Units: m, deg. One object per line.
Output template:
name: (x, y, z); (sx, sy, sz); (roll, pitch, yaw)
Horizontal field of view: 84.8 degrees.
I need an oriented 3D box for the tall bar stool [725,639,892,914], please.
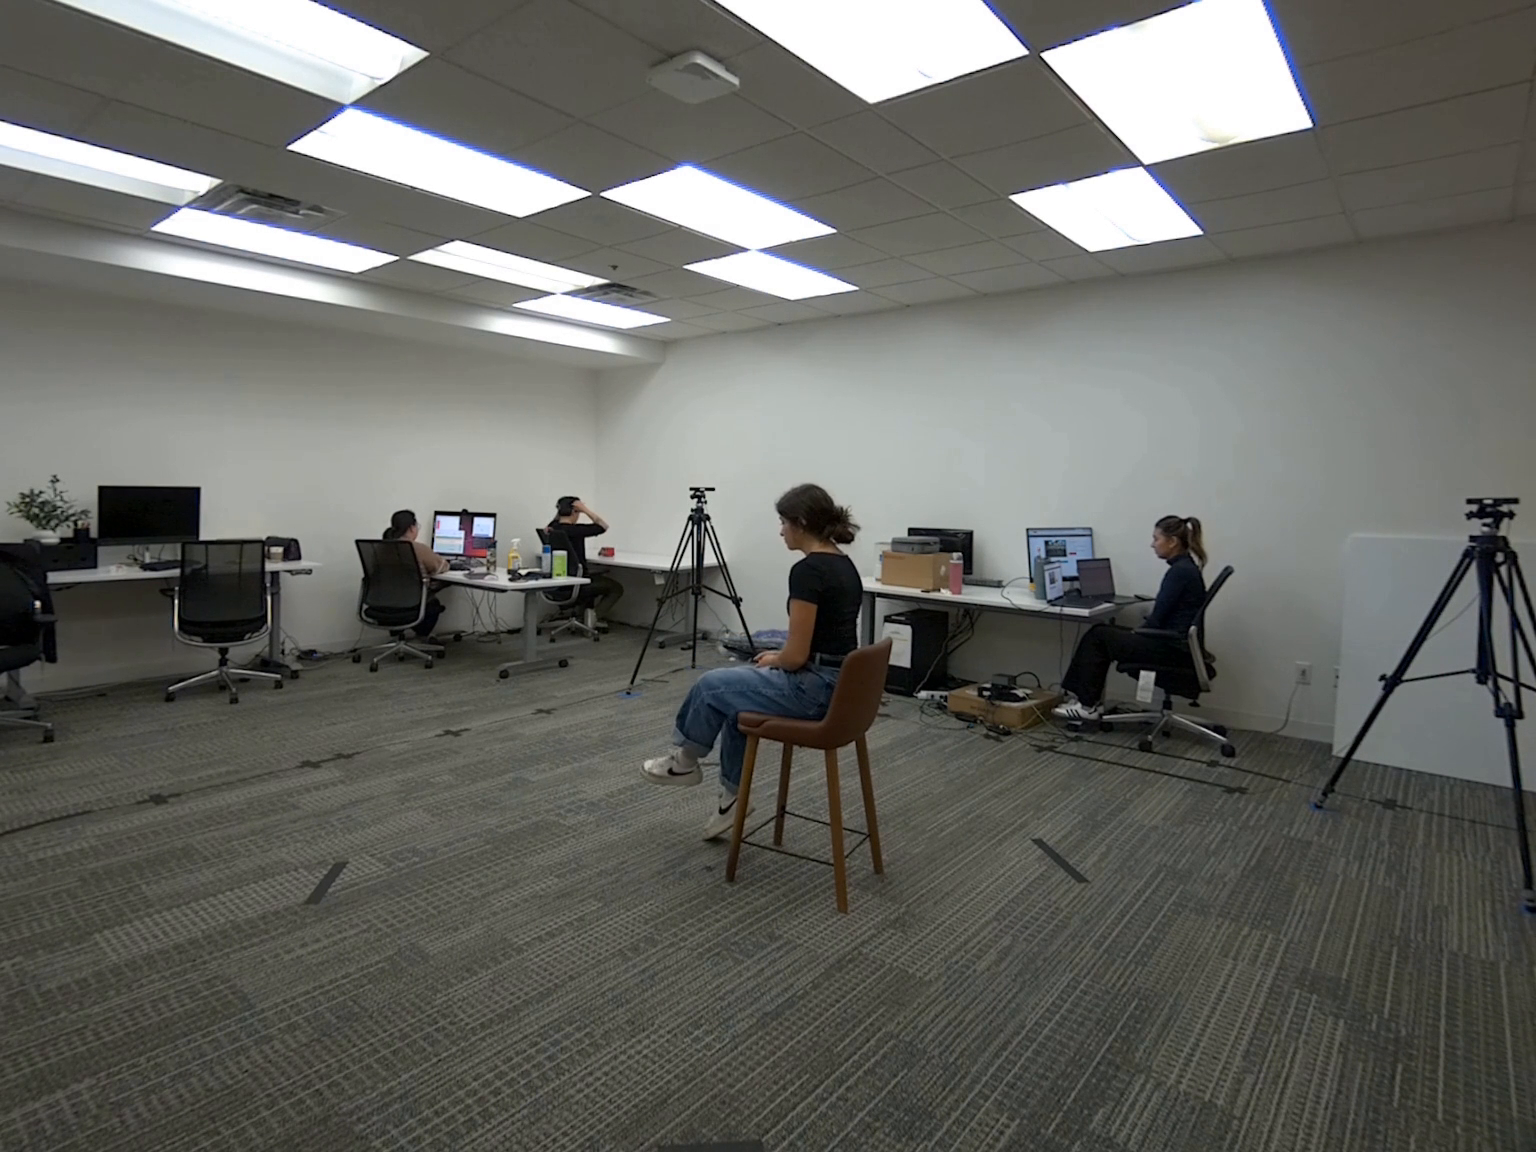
tall bar stool: (0.154, 0.649, 3.040); (0.482, 0.886, 0.445); (6, 5, 29)
